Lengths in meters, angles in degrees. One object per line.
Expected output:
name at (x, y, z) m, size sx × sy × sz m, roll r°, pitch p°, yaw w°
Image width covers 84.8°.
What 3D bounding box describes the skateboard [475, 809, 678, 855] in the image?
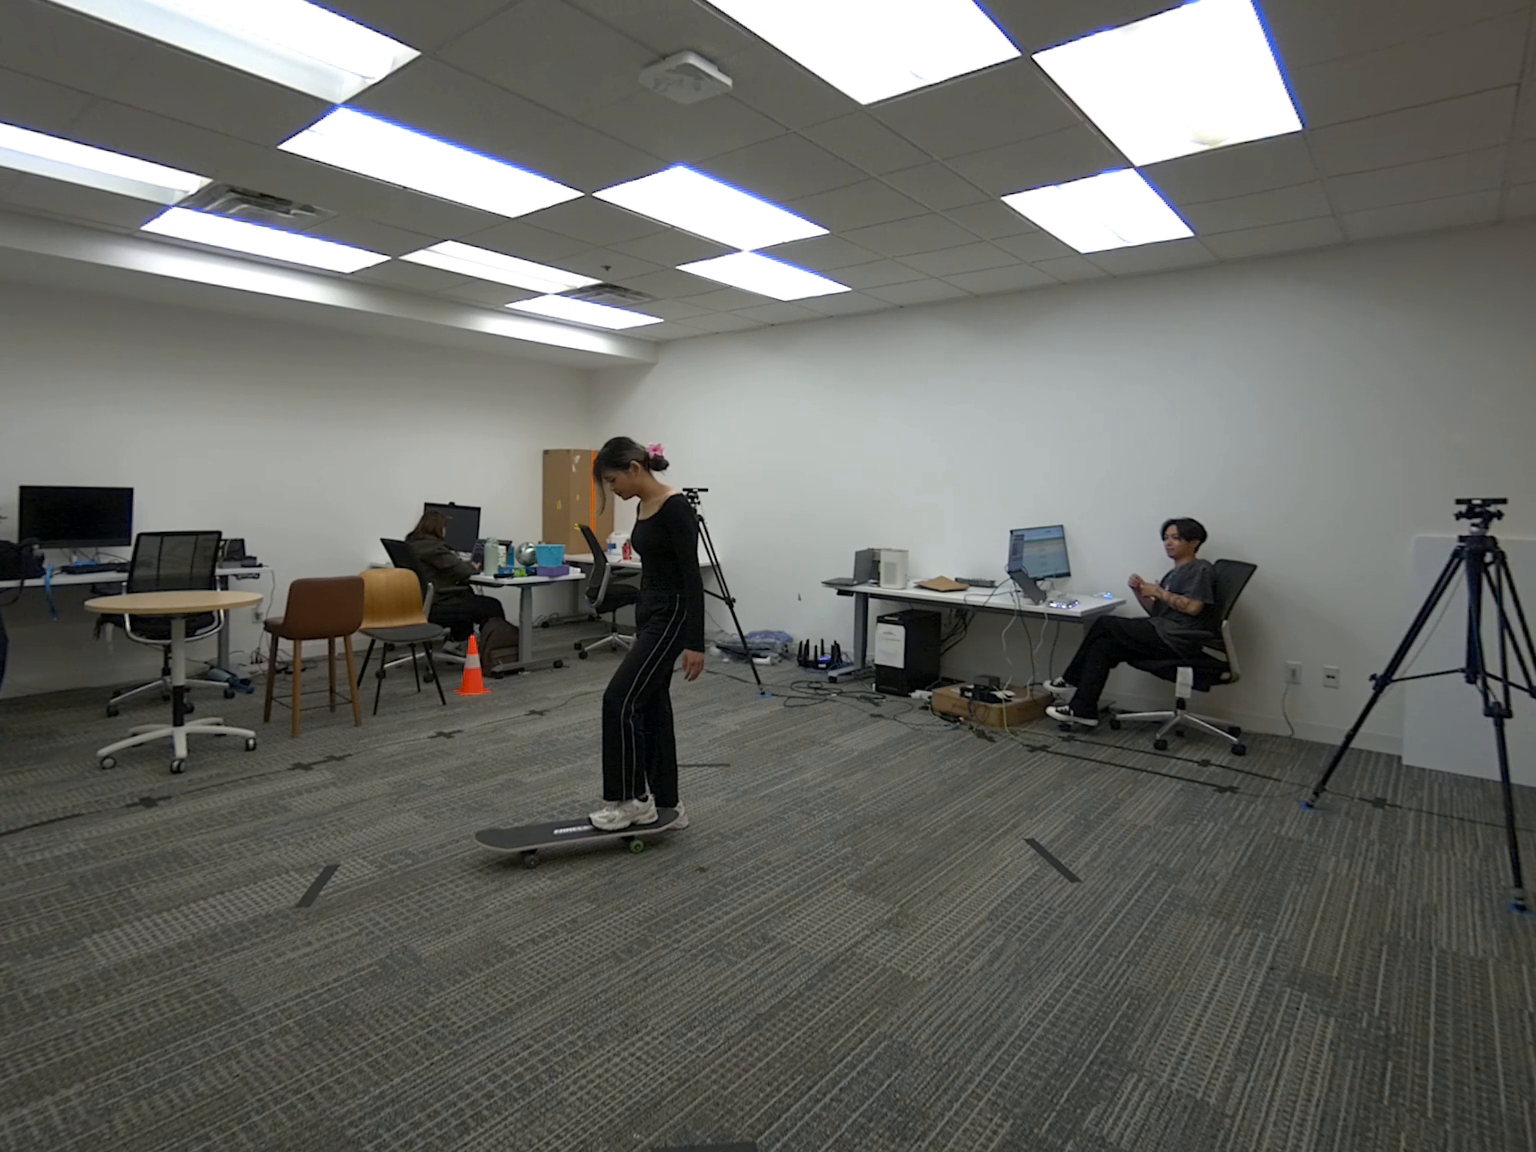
skateboard at (-0.721, 0.990, 3.245) m, size 0.768 × 0.110 × 0.198 m, roll -1°, pitch 5°, yaw -22°
